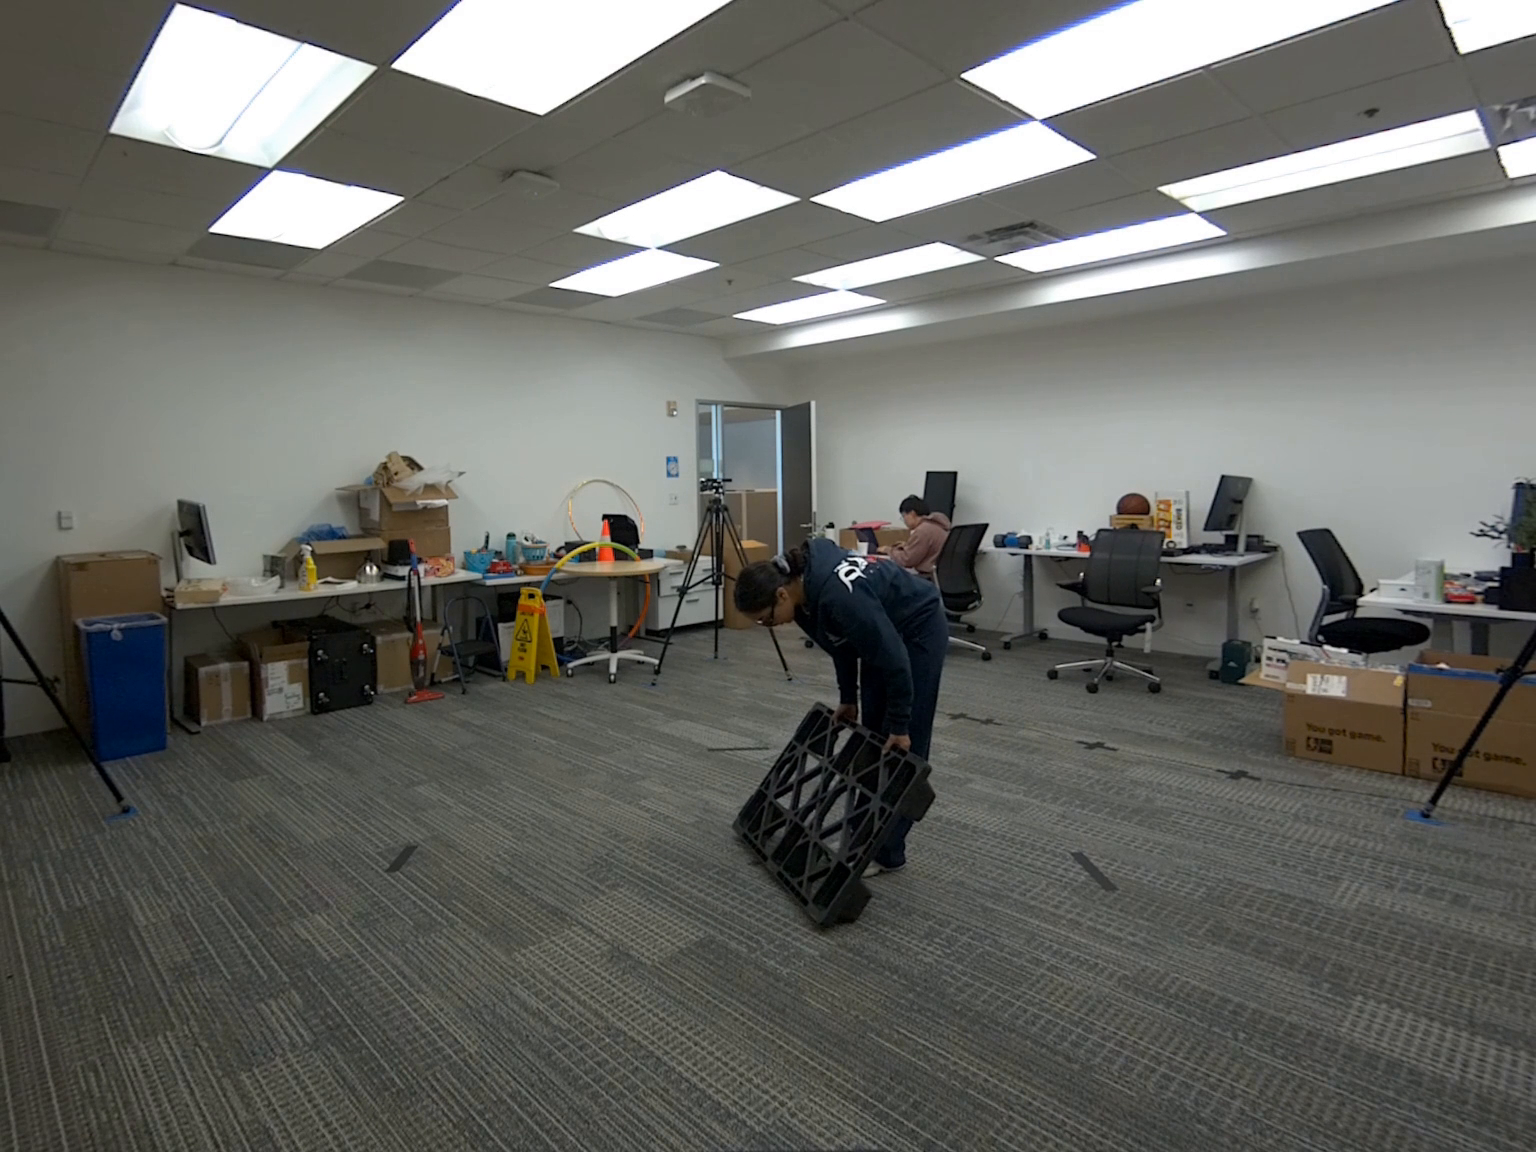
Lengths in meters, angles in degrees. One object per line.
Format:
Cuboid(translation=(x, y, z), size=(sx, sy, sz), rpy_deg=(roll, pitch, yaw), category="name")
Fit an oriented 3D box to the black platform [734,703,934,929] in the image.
Cuboid(translation=(0.222, 0.825, 3.037), size=(0.140, 0.606, 0.824), rpy_deg=(37, -8, -21), category="black platform")
